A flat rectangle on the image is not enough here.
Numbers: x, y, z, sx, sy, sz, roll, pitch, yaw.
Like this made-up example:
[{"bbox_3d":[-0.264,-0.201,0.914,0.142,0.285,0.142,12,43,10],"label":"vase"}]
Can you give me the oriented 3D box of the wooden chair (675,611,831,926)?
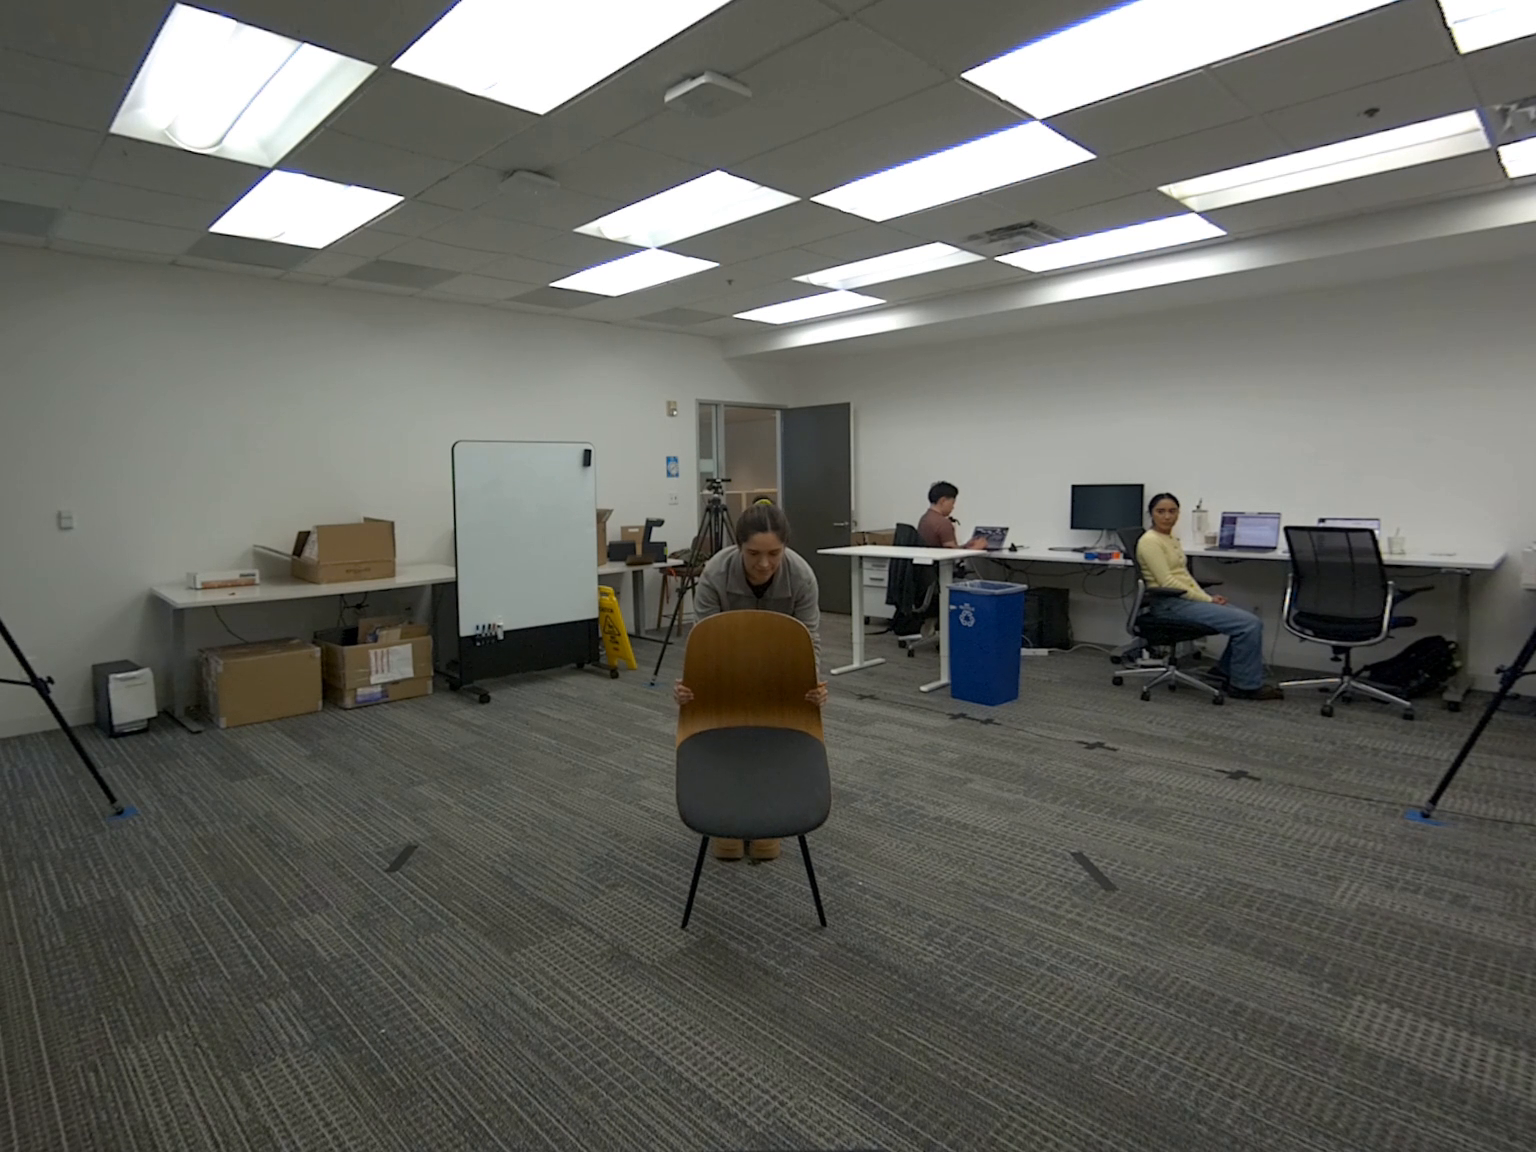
[{"bbox_3d":[-0.050,0.616,2.644,0.478,0.859,0.535,0,26,-2],"label":"wooden chair"}]
